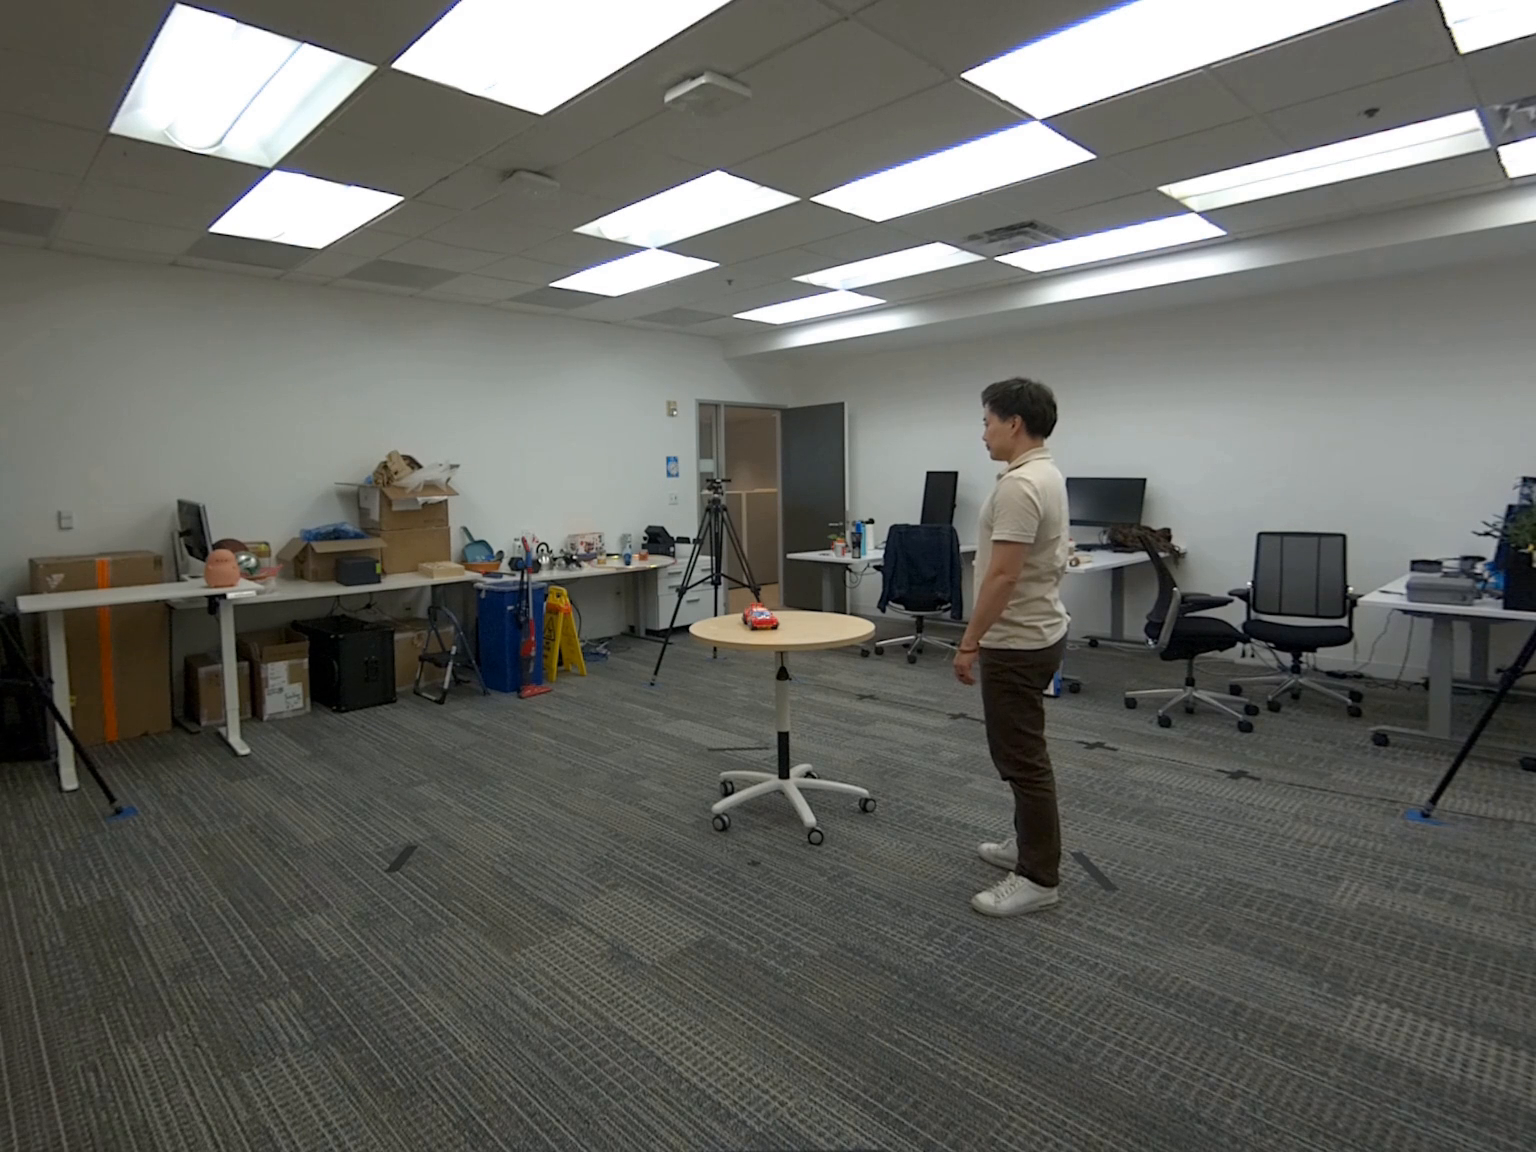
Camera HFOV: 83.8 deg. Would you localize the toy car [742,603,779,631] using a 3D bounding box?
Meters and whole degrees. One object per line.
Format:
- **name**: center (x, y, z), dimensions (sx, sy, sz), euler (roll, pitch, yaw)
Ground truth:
- **toy car**: center (-0.038, 0.173, 3.574), dimensions (0.129, 0.082, 0.261), euler (-3, 18, -12)
